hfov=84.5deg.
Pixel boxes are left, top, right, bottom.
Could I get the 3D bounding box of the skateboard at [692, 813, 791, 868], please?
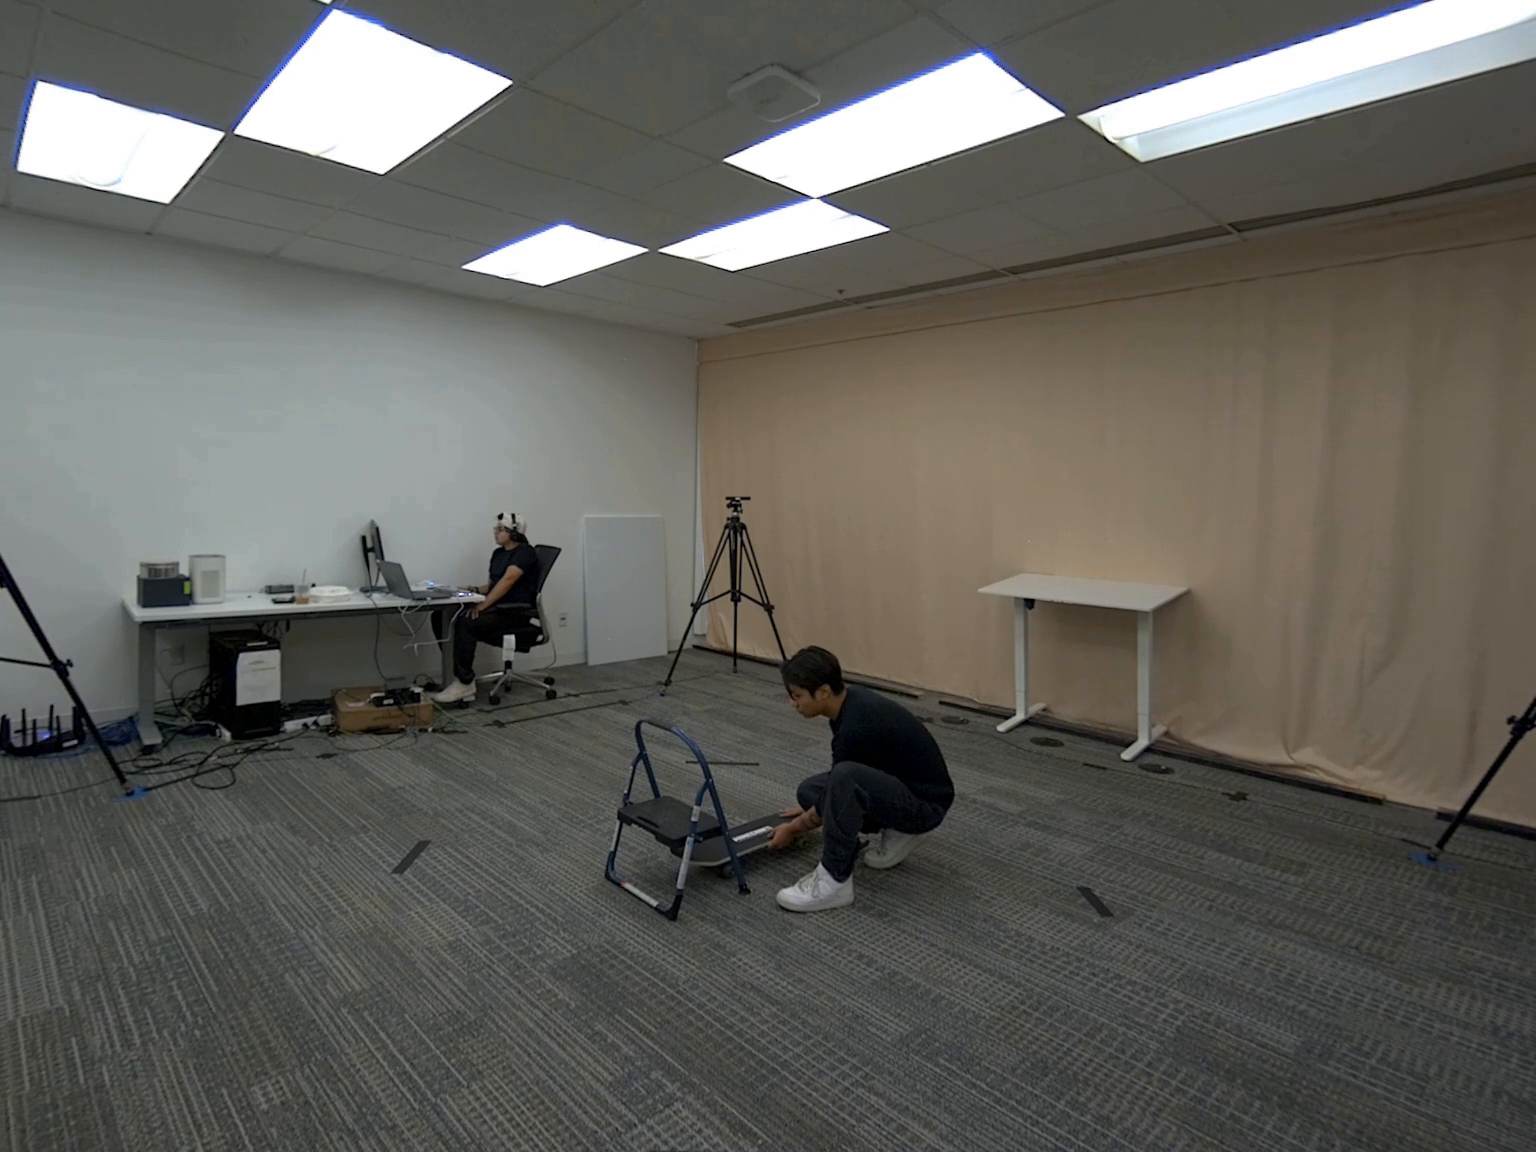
[{"bbox_3d":[-0.066,1.027,3.246,0.198,0.110,0.767,6,6,44],"label":"skateboard"}]
